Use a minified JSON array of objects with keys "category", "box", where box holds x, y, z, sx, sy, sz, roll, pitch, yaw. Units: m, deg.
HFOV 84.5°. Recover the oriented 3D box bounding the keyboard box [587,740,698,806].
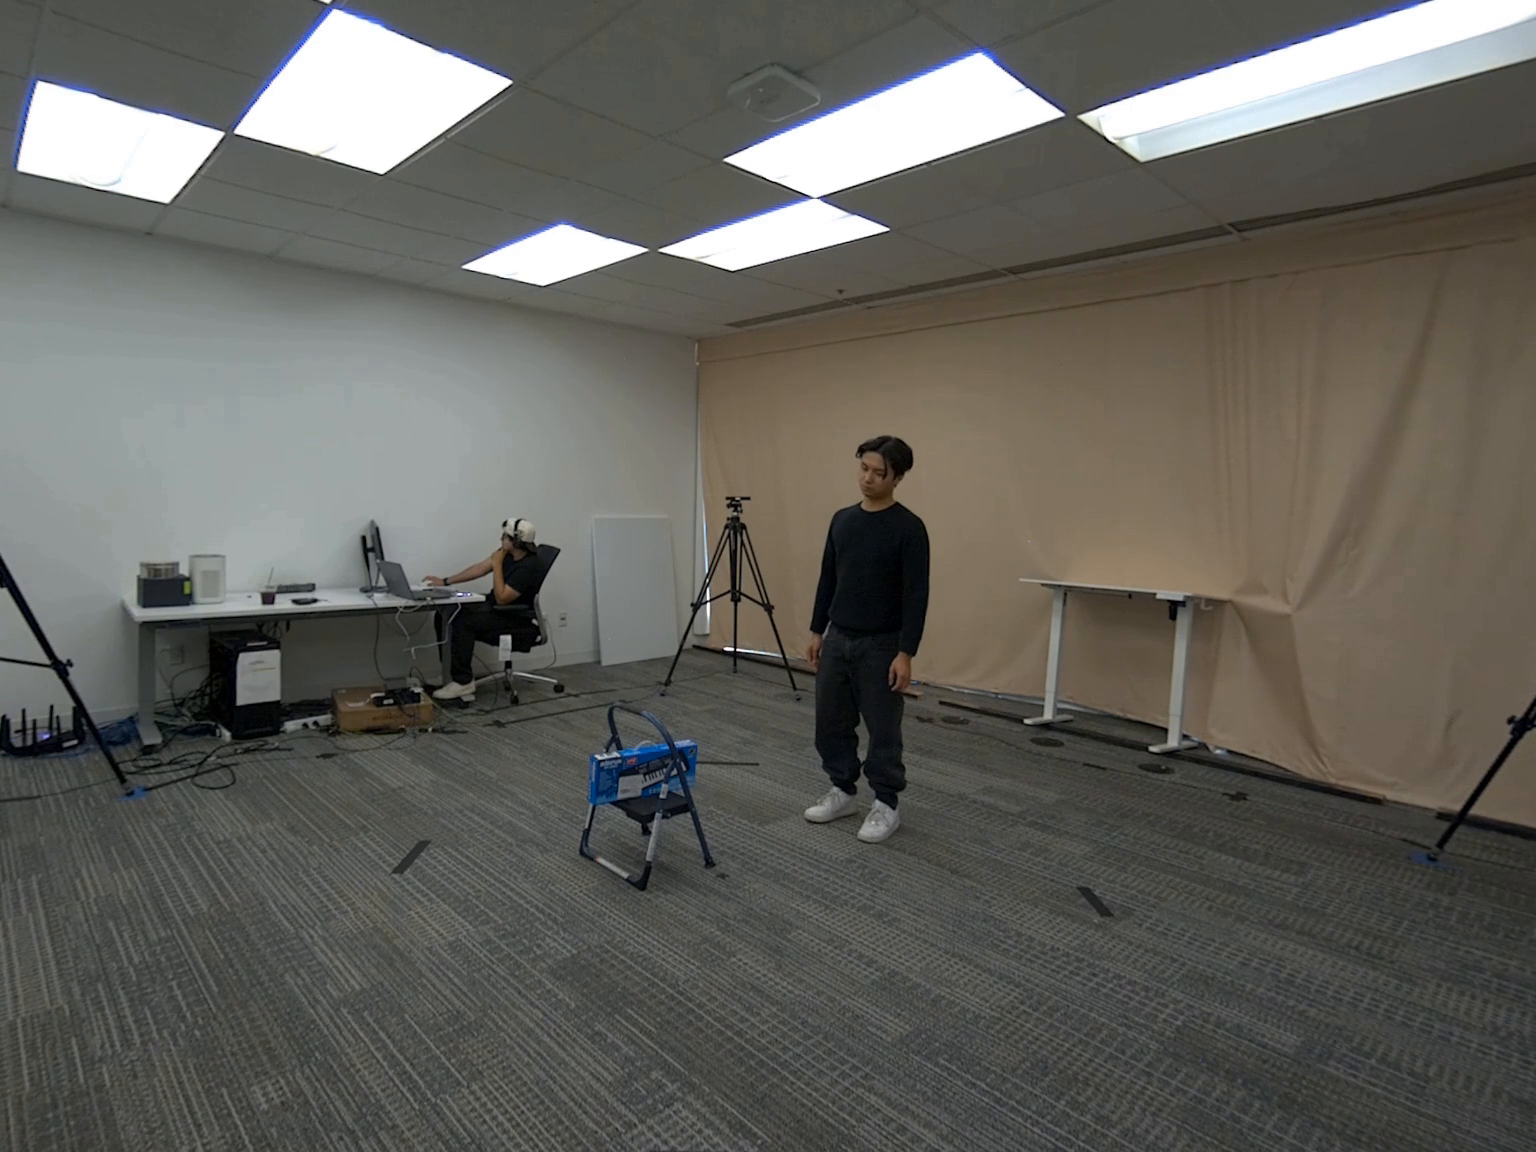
[{"category":"keyboard box","box":[-0.474,0.743,3.185,0.427,0.175,0.061,-1,8,-38]}]
